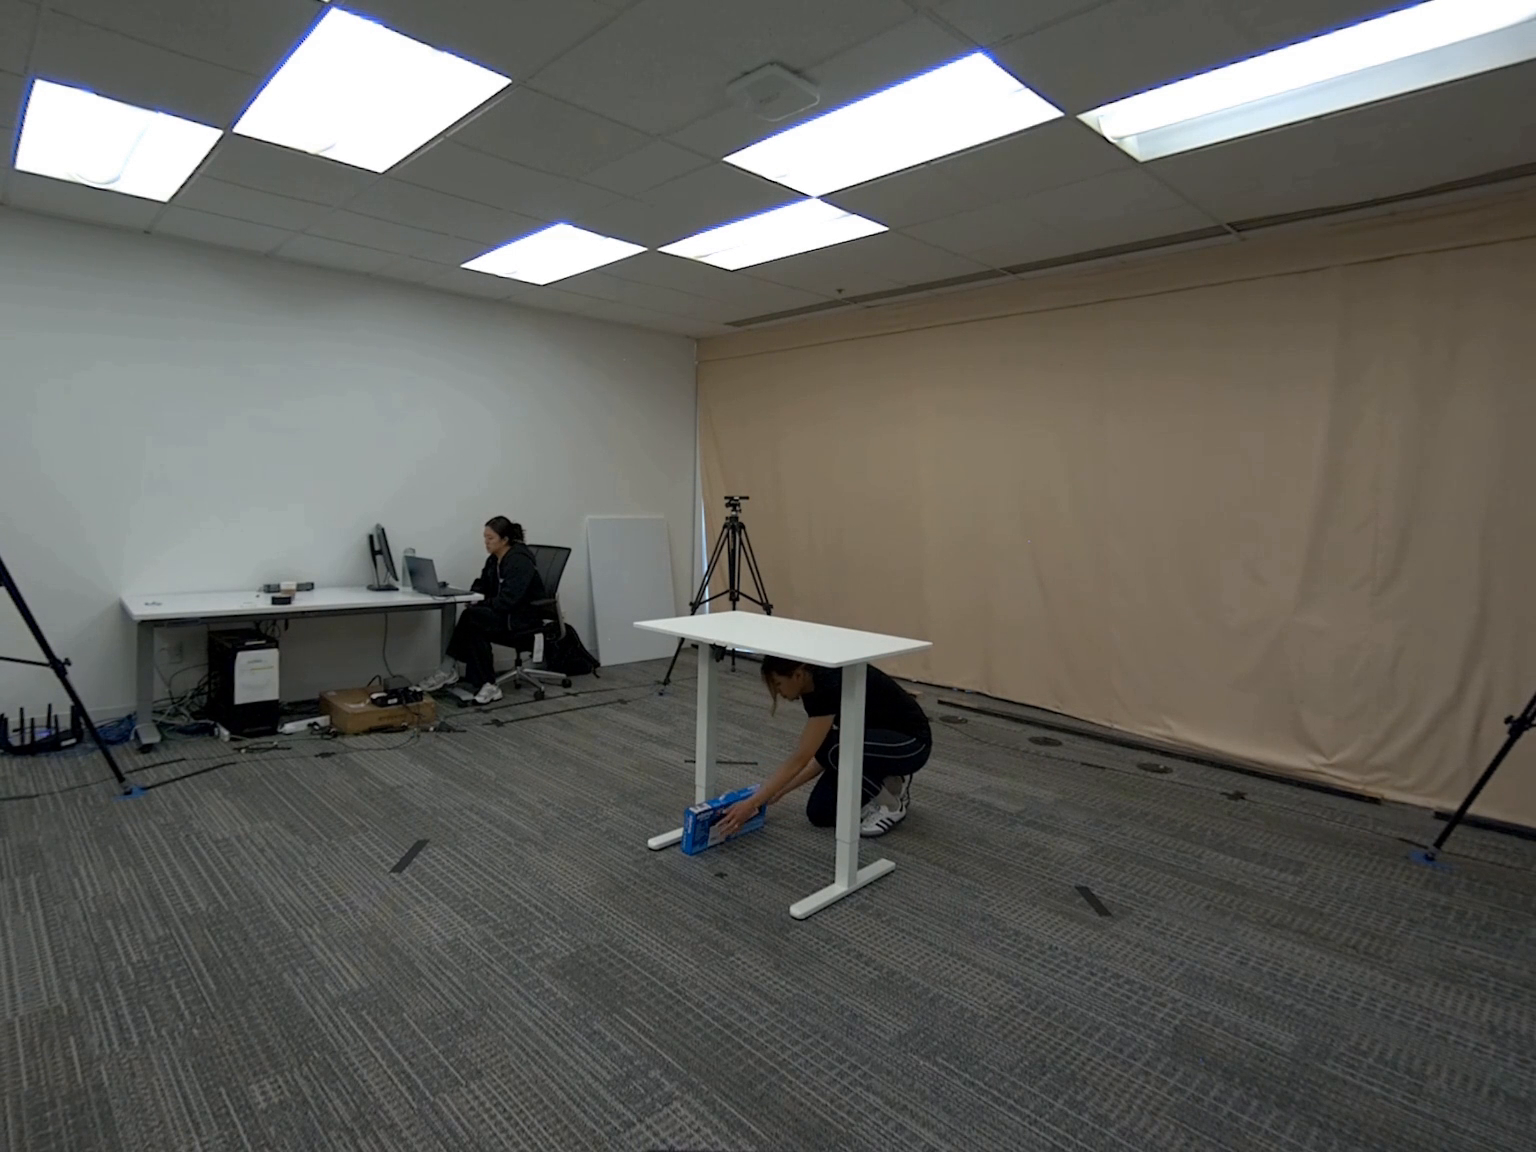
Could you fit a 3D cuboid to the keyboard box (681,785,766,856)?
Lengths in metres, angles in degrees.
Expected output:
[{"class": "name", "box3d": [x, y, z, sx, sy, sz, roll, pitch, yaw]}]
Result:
[{"class": "keyboard box", "box3d": [-0.181, 0.986, 3.428, 0.061, 0.175, 0.427, 16, 13, 40]}]
